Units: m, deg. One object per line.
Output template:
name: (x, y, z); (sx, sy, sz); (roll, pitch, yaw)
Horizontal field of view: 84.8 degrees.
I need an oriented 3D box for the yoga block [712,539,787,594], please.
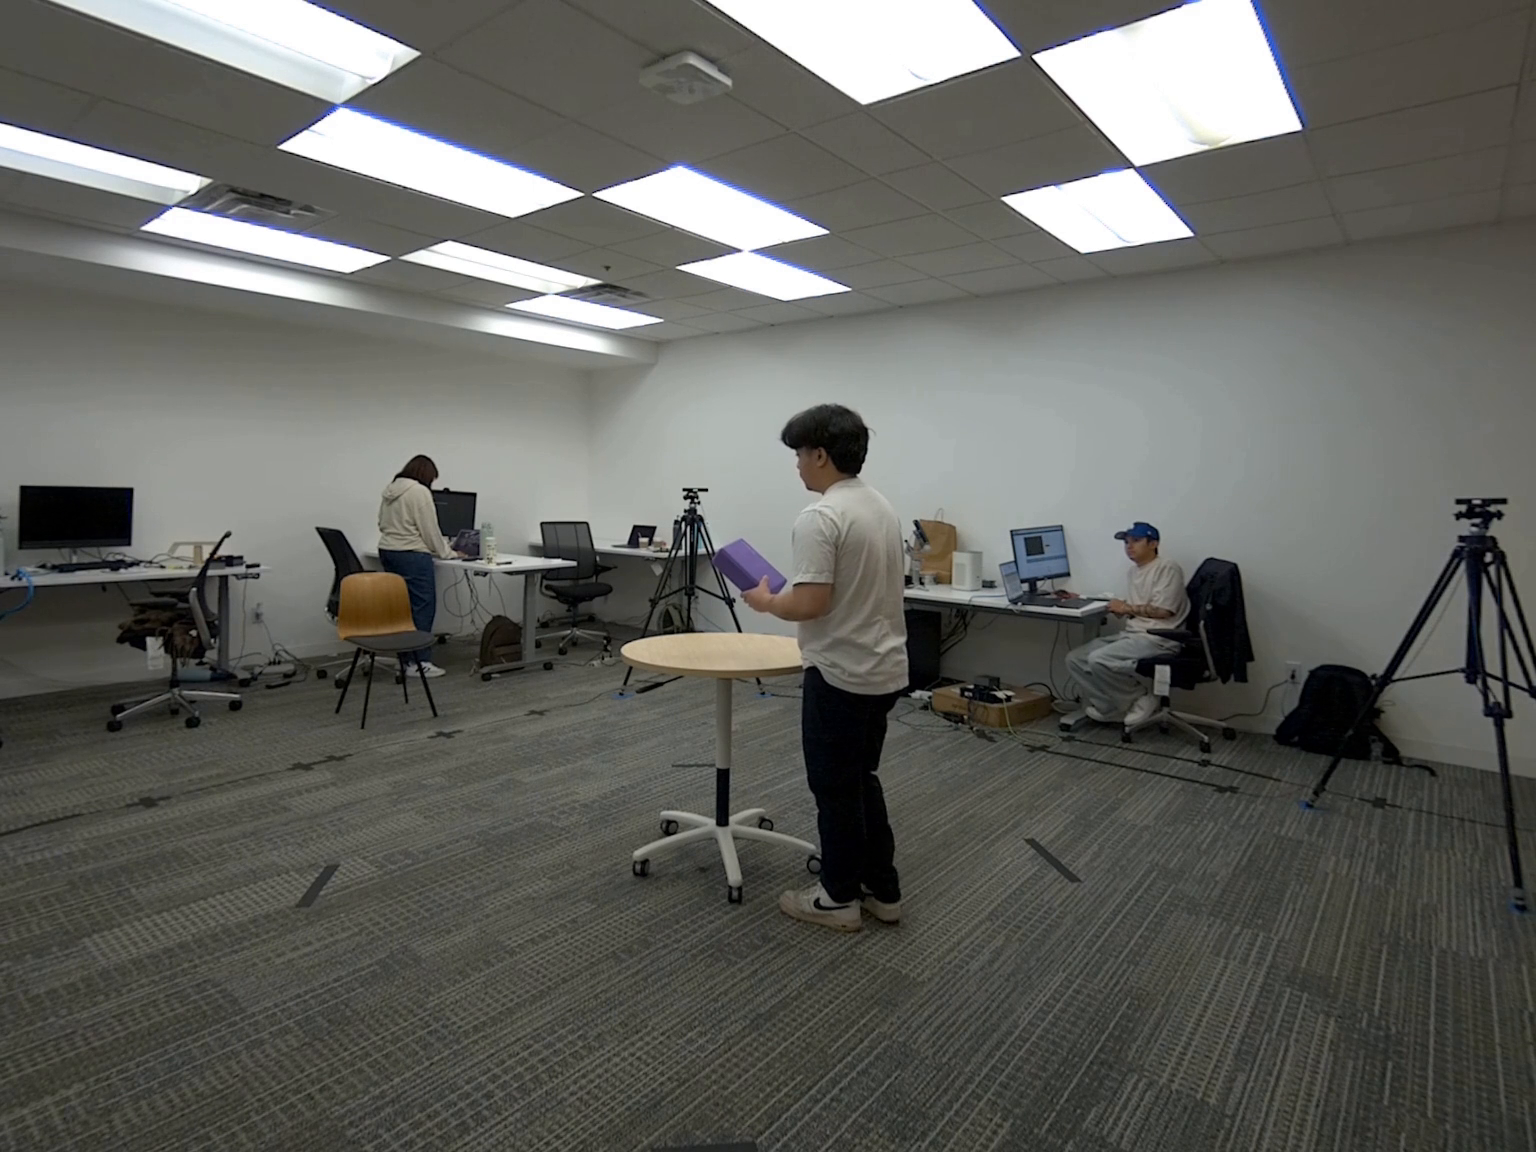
yoga block: (-0.066, -0.020, 2.916); (0.234, 0.076, 0.147); (41, 34, 15)
